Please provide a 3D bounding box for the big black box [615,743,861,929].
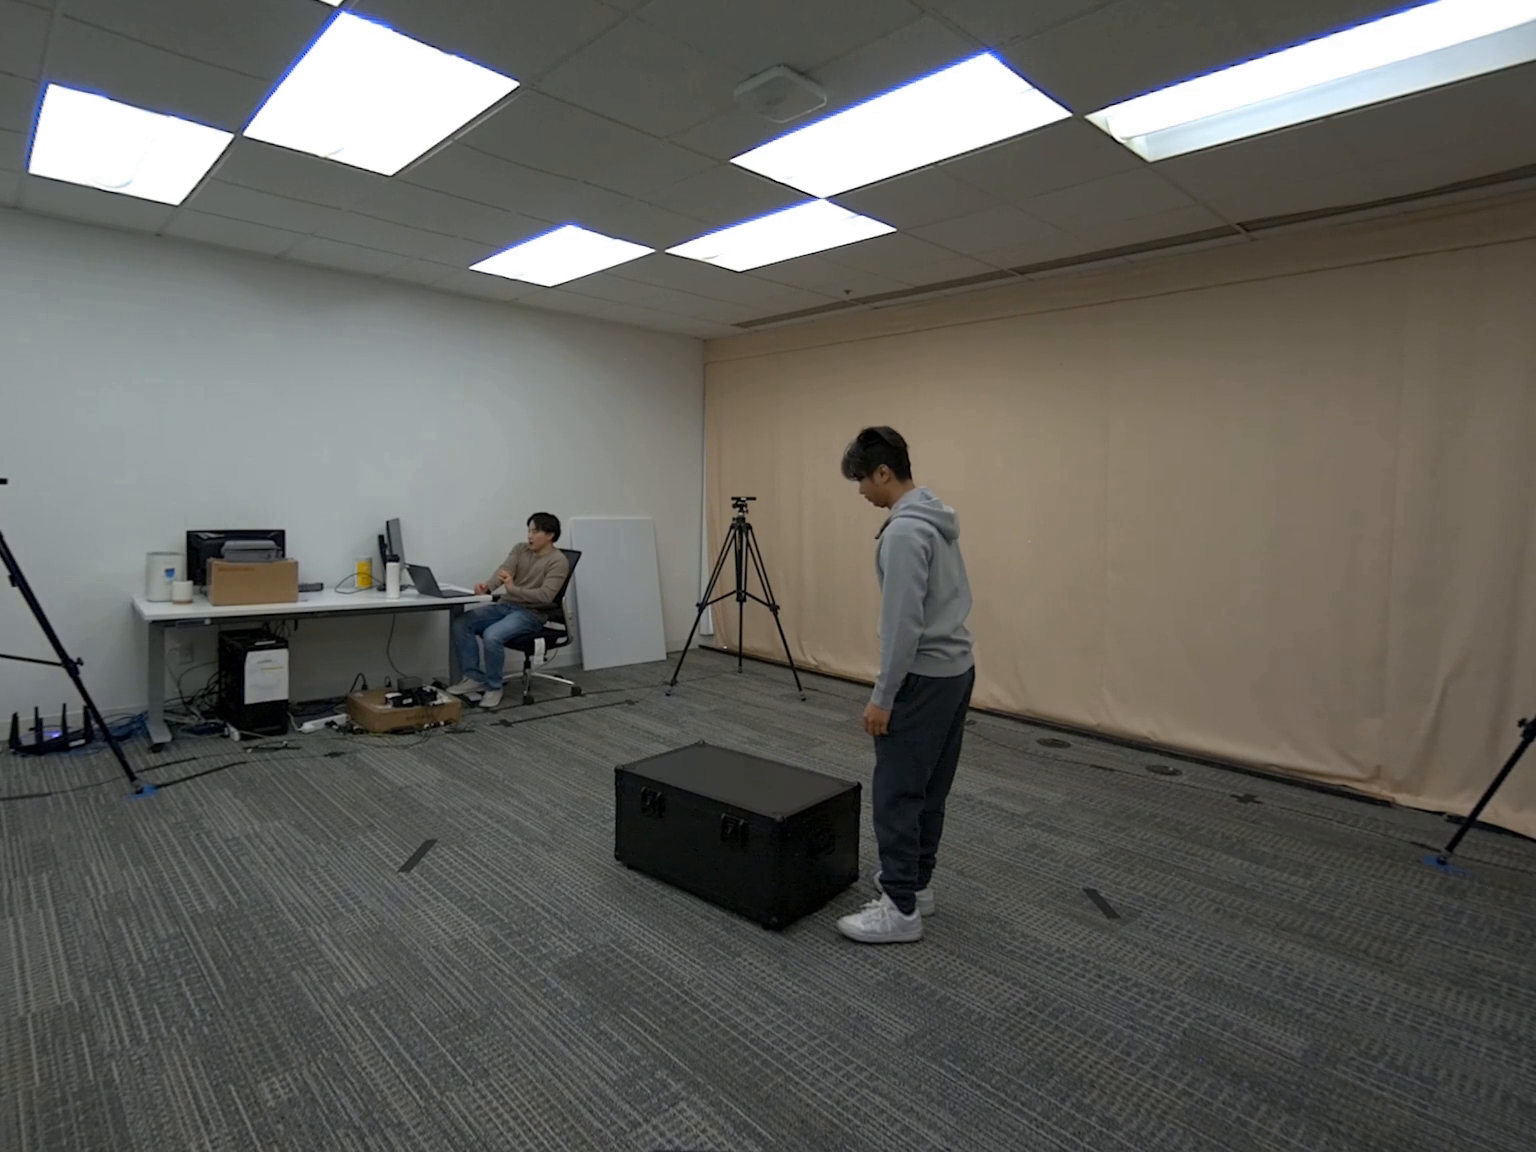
[{"bbox_3d":[-0.153,0.916,3.123,0.883,0.395,0.510,6,6,39],"label":"big black box"}]
